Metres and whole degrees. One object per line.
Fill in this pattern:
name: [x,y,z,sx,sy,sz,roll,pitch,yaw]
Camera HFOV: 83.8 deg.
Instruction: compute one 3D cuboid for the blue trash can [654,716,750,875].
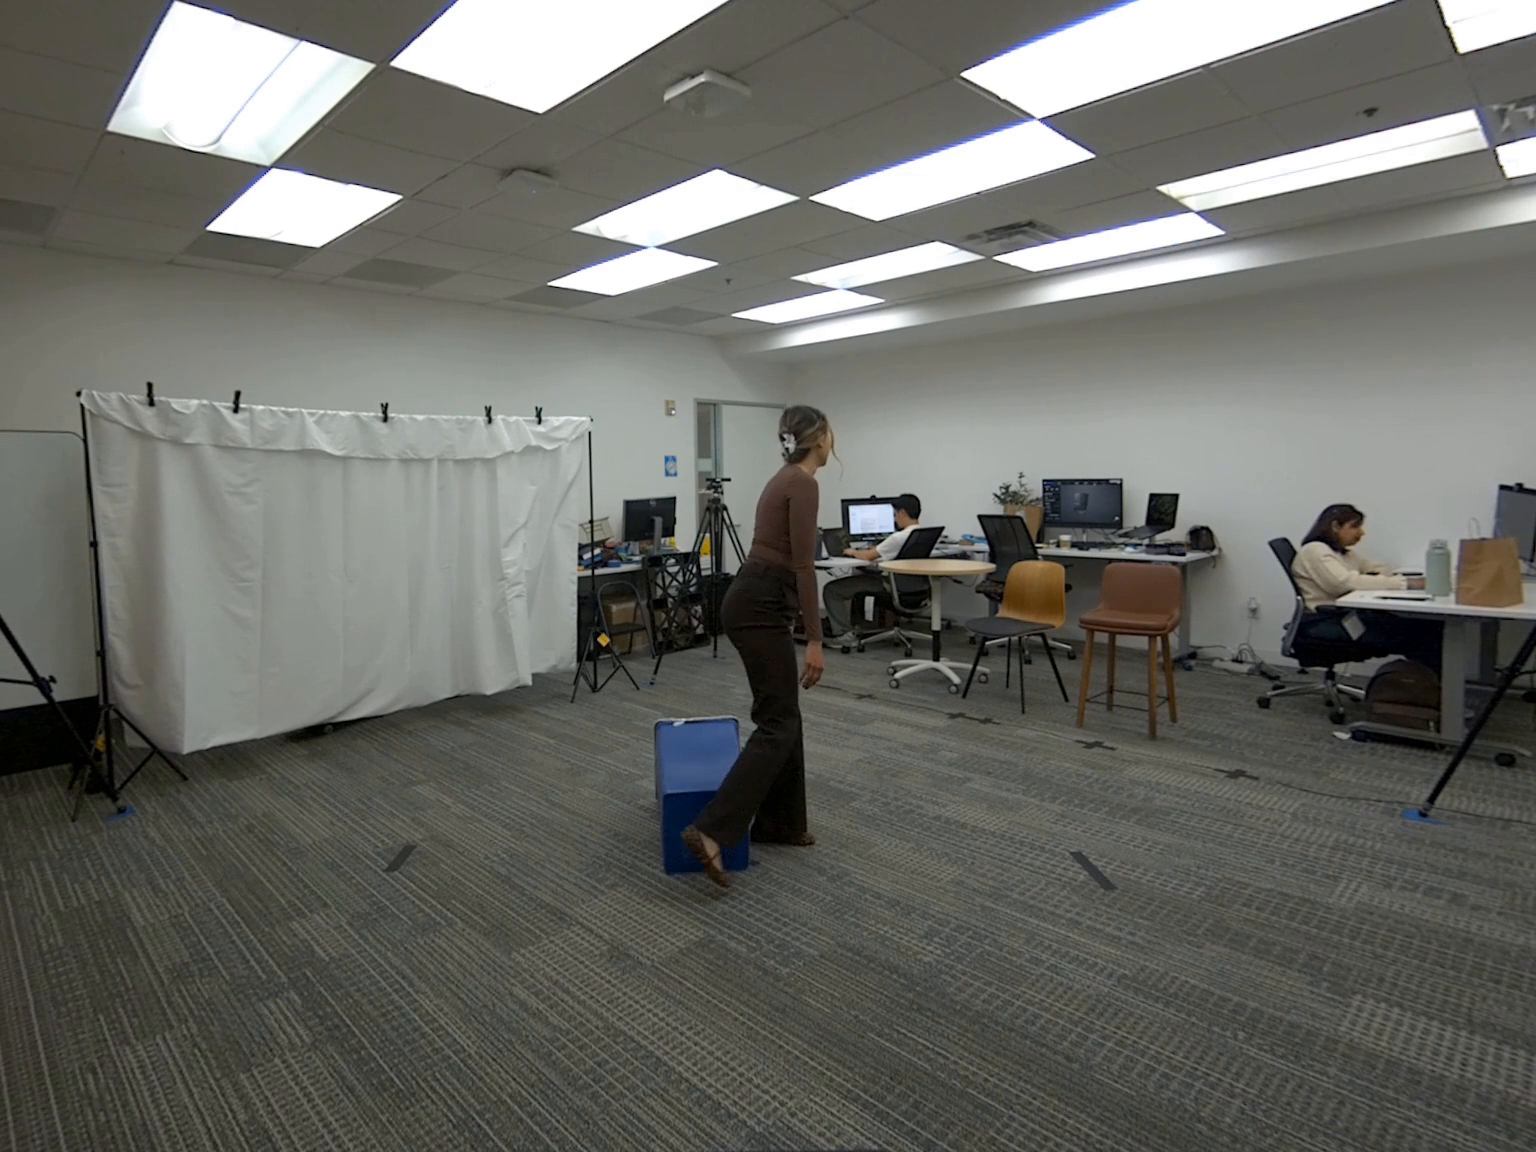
blue trash can: [-0.260,0.852,3.376,0.372,0.375,0.723,-1,9,-7]
